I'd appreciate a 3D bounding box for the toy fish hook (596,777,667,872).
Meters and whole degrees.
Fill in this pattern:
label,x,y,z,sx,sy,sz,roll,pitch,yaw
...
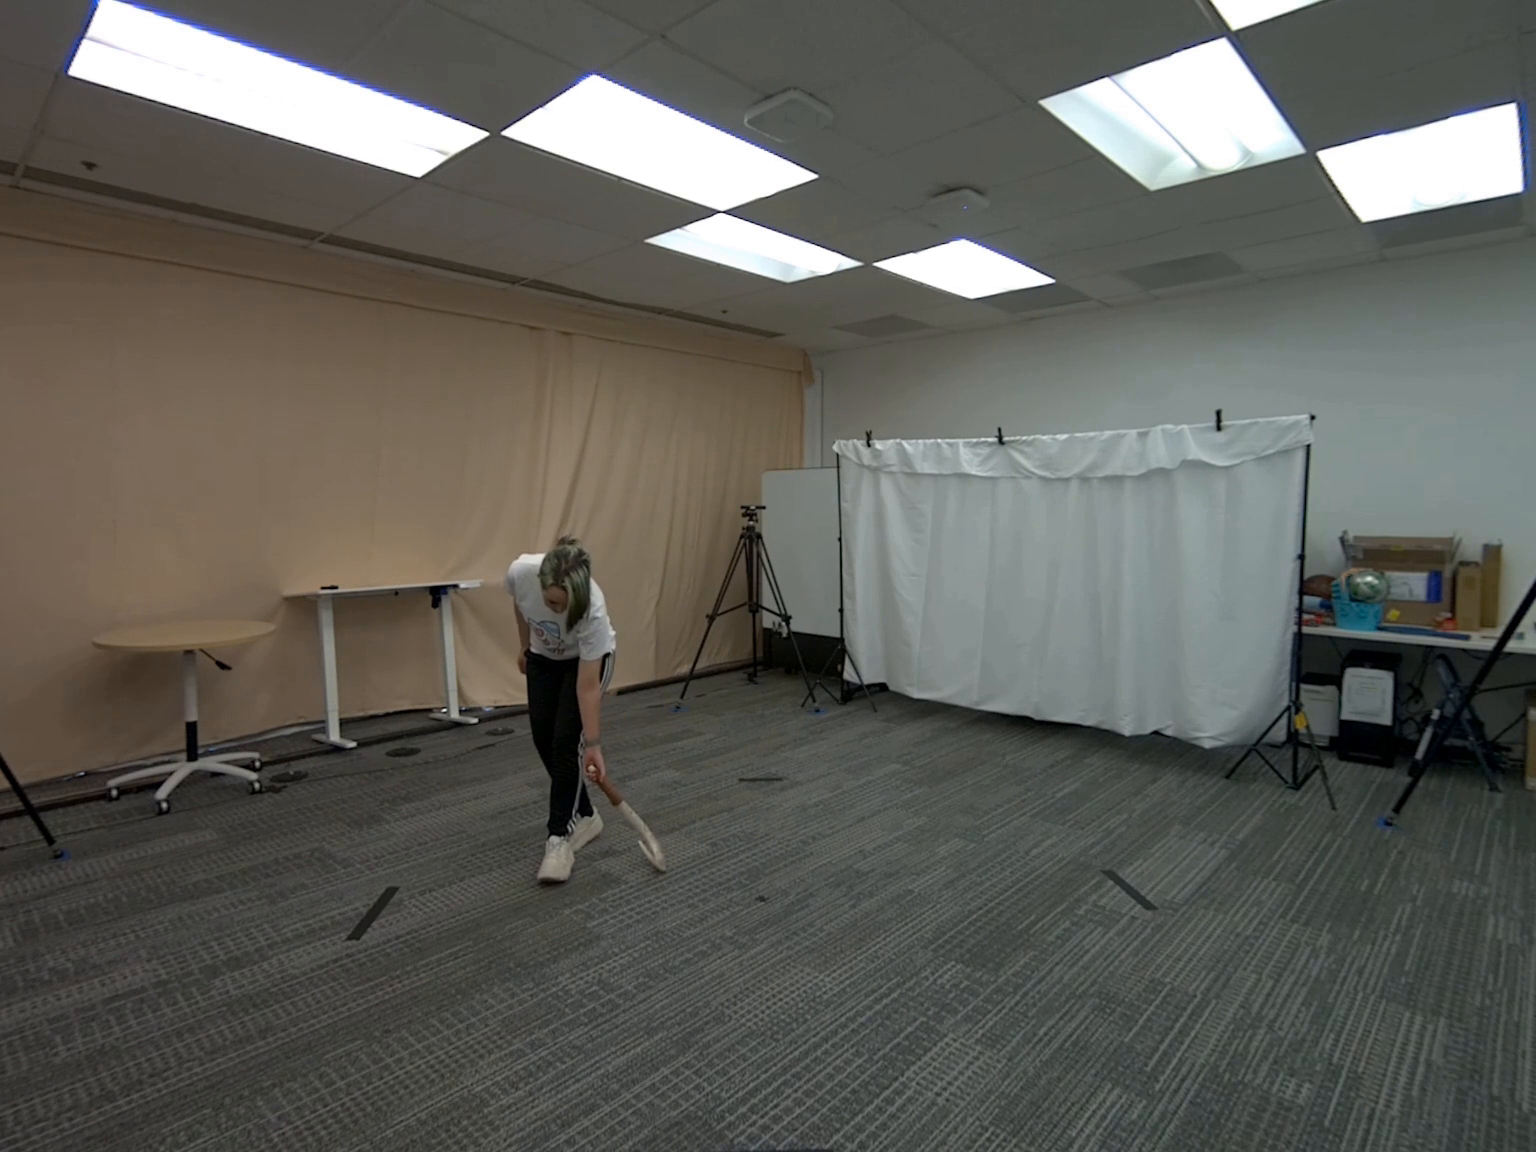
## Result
label,x,y,z,sx,sy,sz,roll,pitch,yaw
toy fish hook,-0.531,0.918,3.183,0.048,0.497,0.229,-37,17,-6
